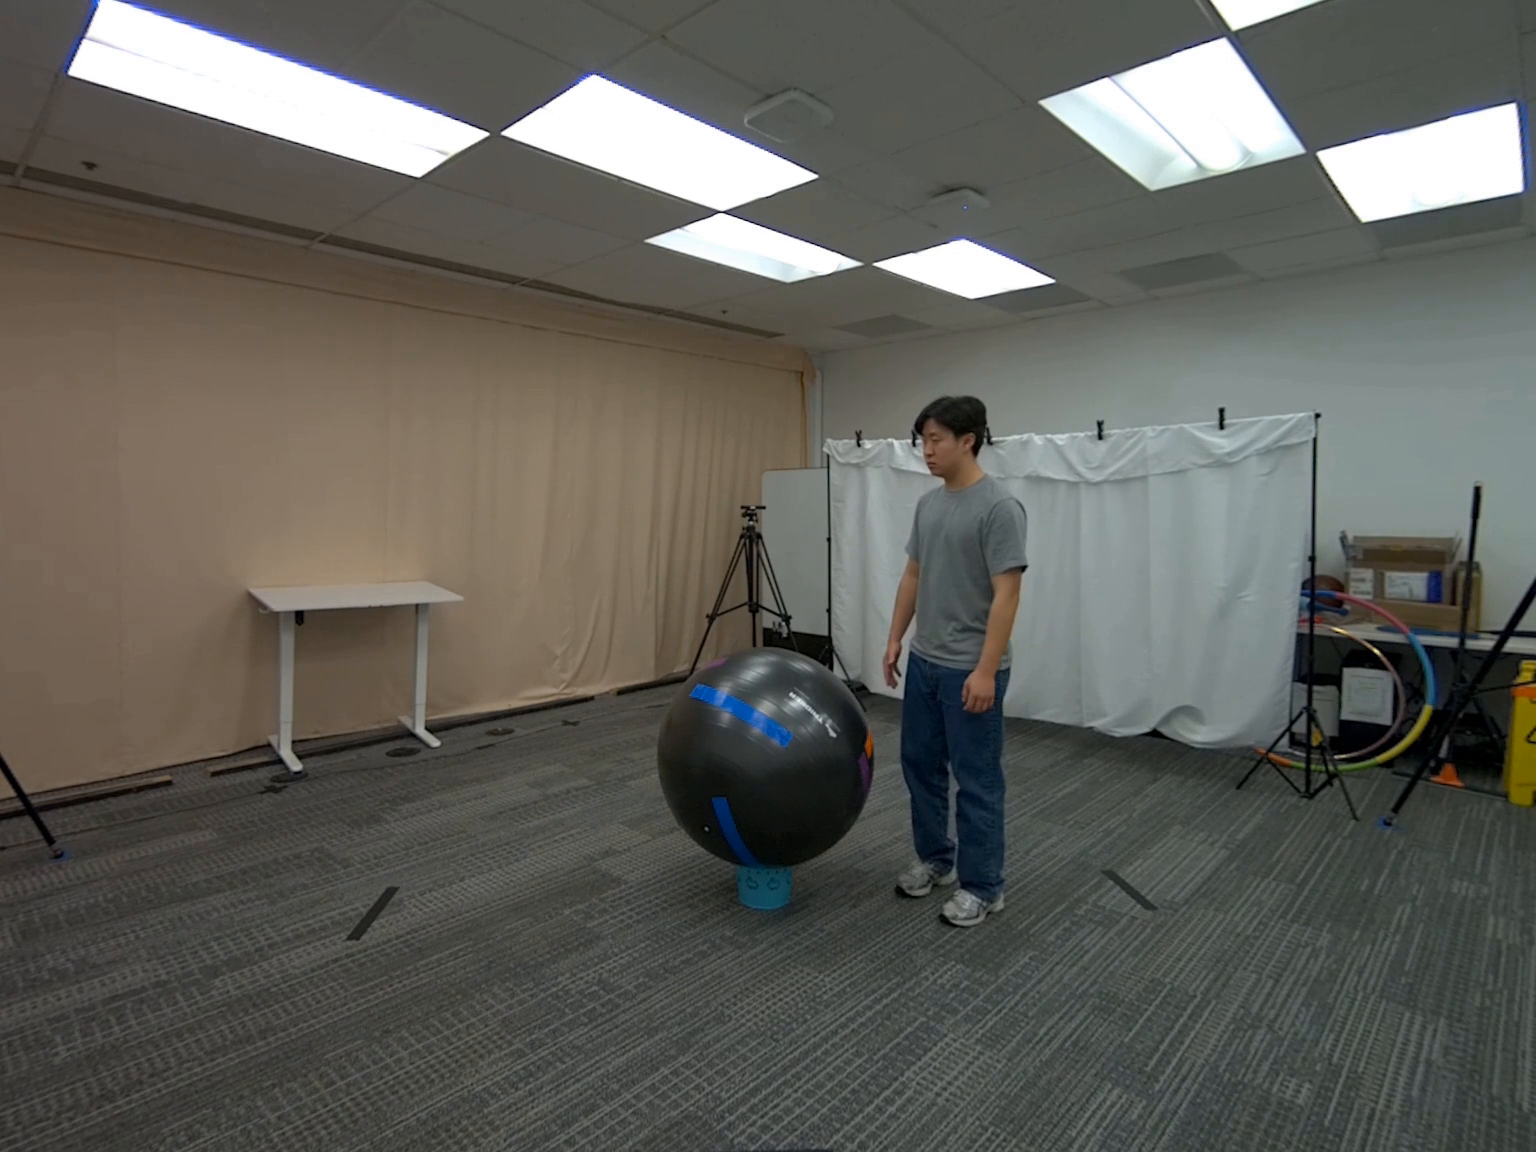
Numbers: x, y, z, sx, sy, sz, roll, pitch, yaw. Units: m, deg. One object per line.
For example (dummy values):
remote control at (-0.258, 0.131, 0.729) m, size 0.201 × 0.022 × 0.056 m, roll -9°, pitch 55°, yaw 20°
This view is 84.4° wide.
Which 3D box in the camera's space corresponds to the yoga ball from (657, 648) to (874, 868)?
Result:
yoga ball at (-0.013, 0.637, 2.976) m, size 0.757 × 0.756 × 0.760 m, roll 0°, pitch 4°, yaw -2°
